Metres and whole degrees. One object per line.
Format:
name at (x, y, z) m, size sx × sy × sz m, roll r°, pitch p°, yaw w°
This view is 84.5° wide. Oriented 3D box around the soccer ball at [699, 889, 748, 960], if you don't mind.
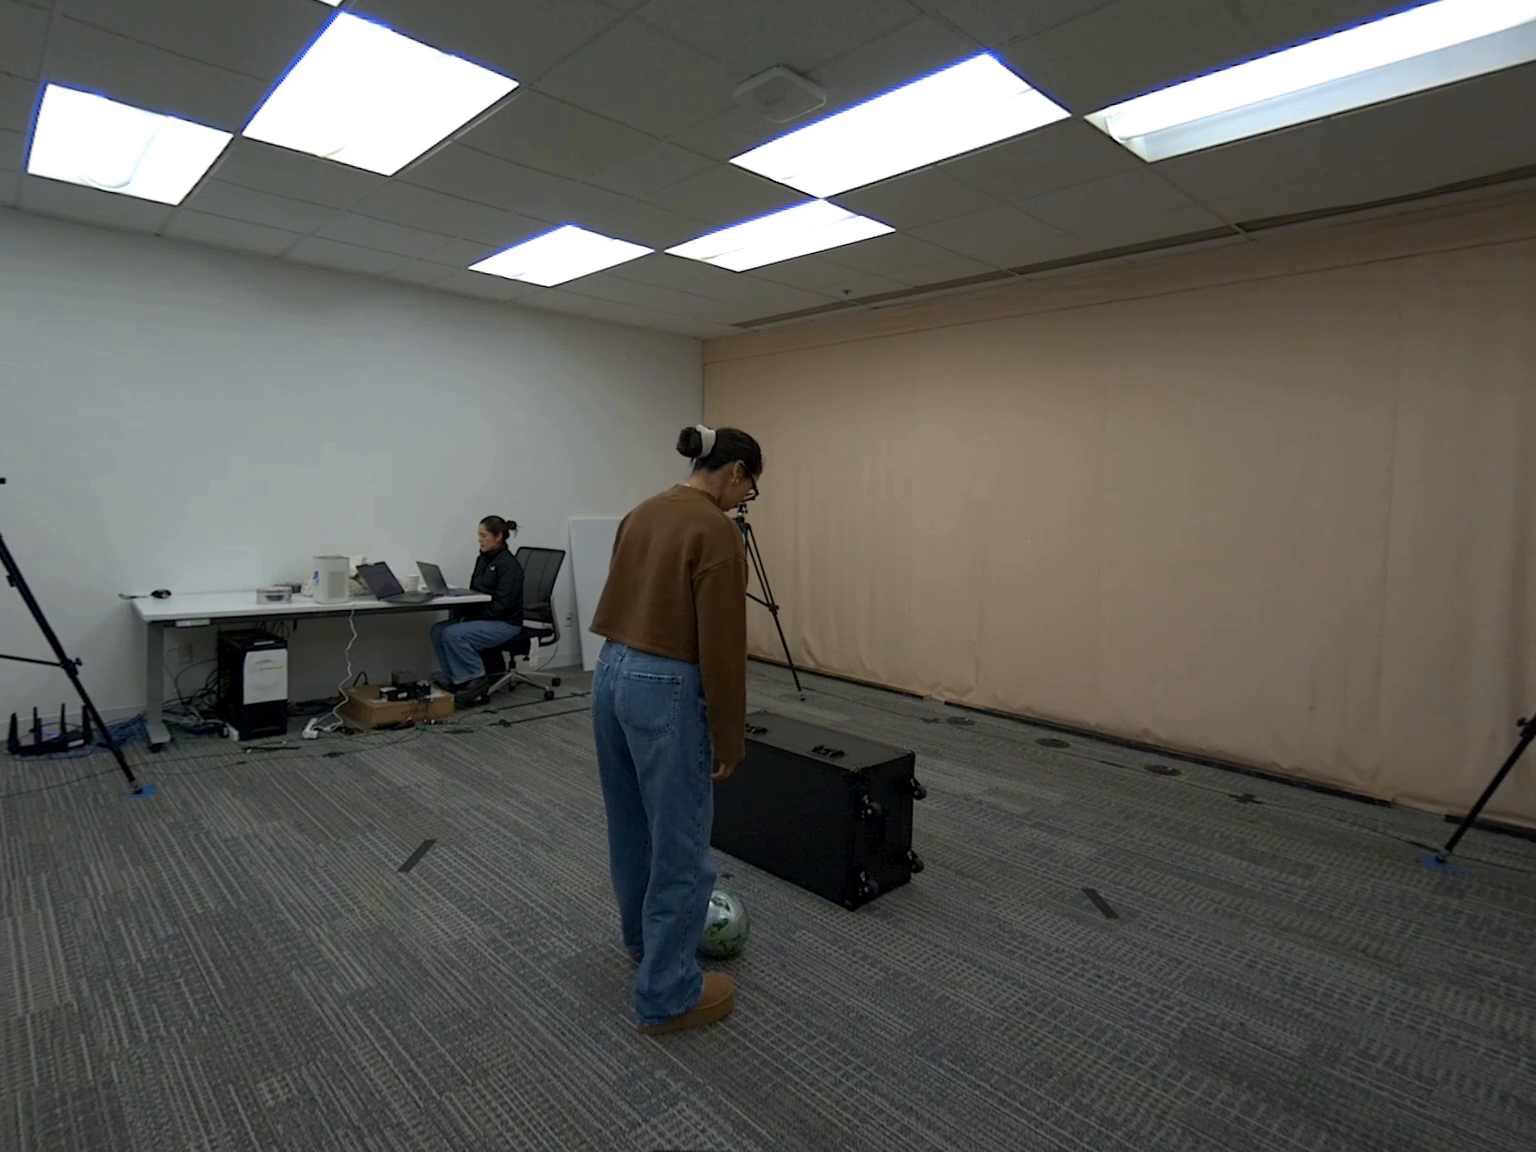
soccer ball at (-0.155, 1.067, 2.567) m, size 0.187 × 0.187 × 0.188 m, roll 1°, pitch 4°, yaw -1°
